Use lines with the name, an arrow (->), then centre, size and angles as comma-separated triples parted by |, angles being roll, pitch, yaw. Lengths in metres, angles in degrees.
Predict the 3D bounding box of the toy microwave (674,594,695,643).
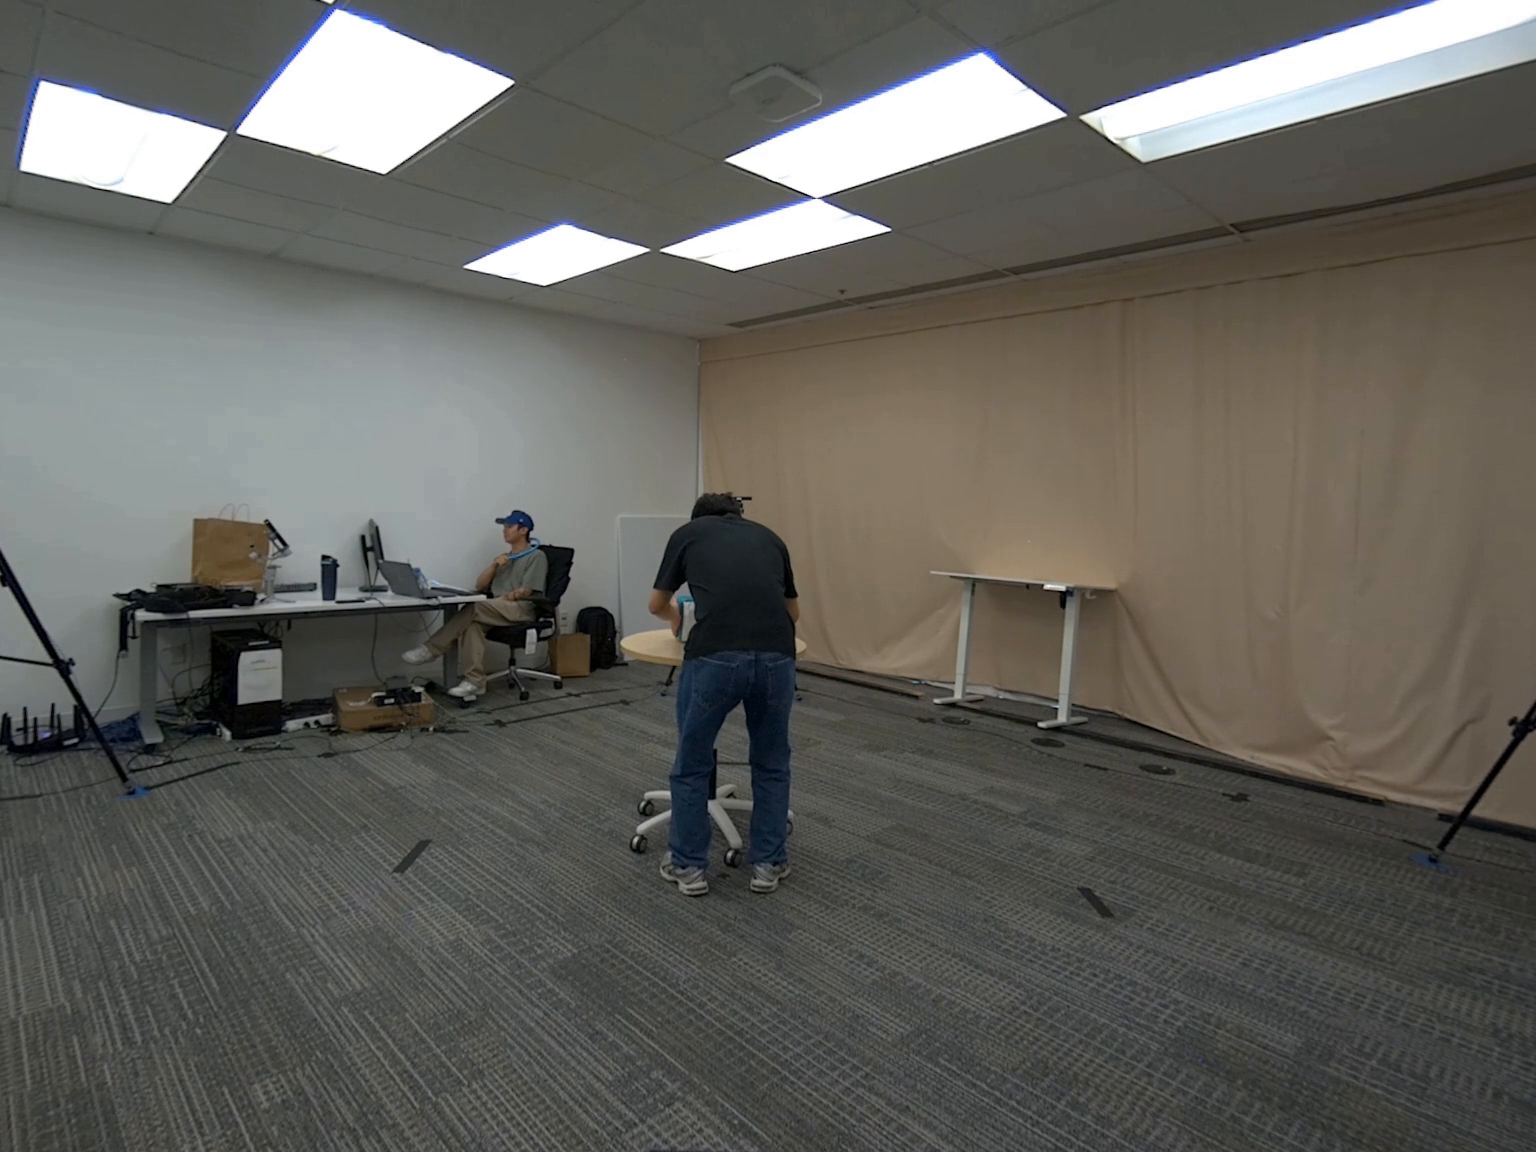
toy microwave -> -0.235, 0.186, 3.512 | 0.283, 0.183, 0.154 | 0, 7, -13
